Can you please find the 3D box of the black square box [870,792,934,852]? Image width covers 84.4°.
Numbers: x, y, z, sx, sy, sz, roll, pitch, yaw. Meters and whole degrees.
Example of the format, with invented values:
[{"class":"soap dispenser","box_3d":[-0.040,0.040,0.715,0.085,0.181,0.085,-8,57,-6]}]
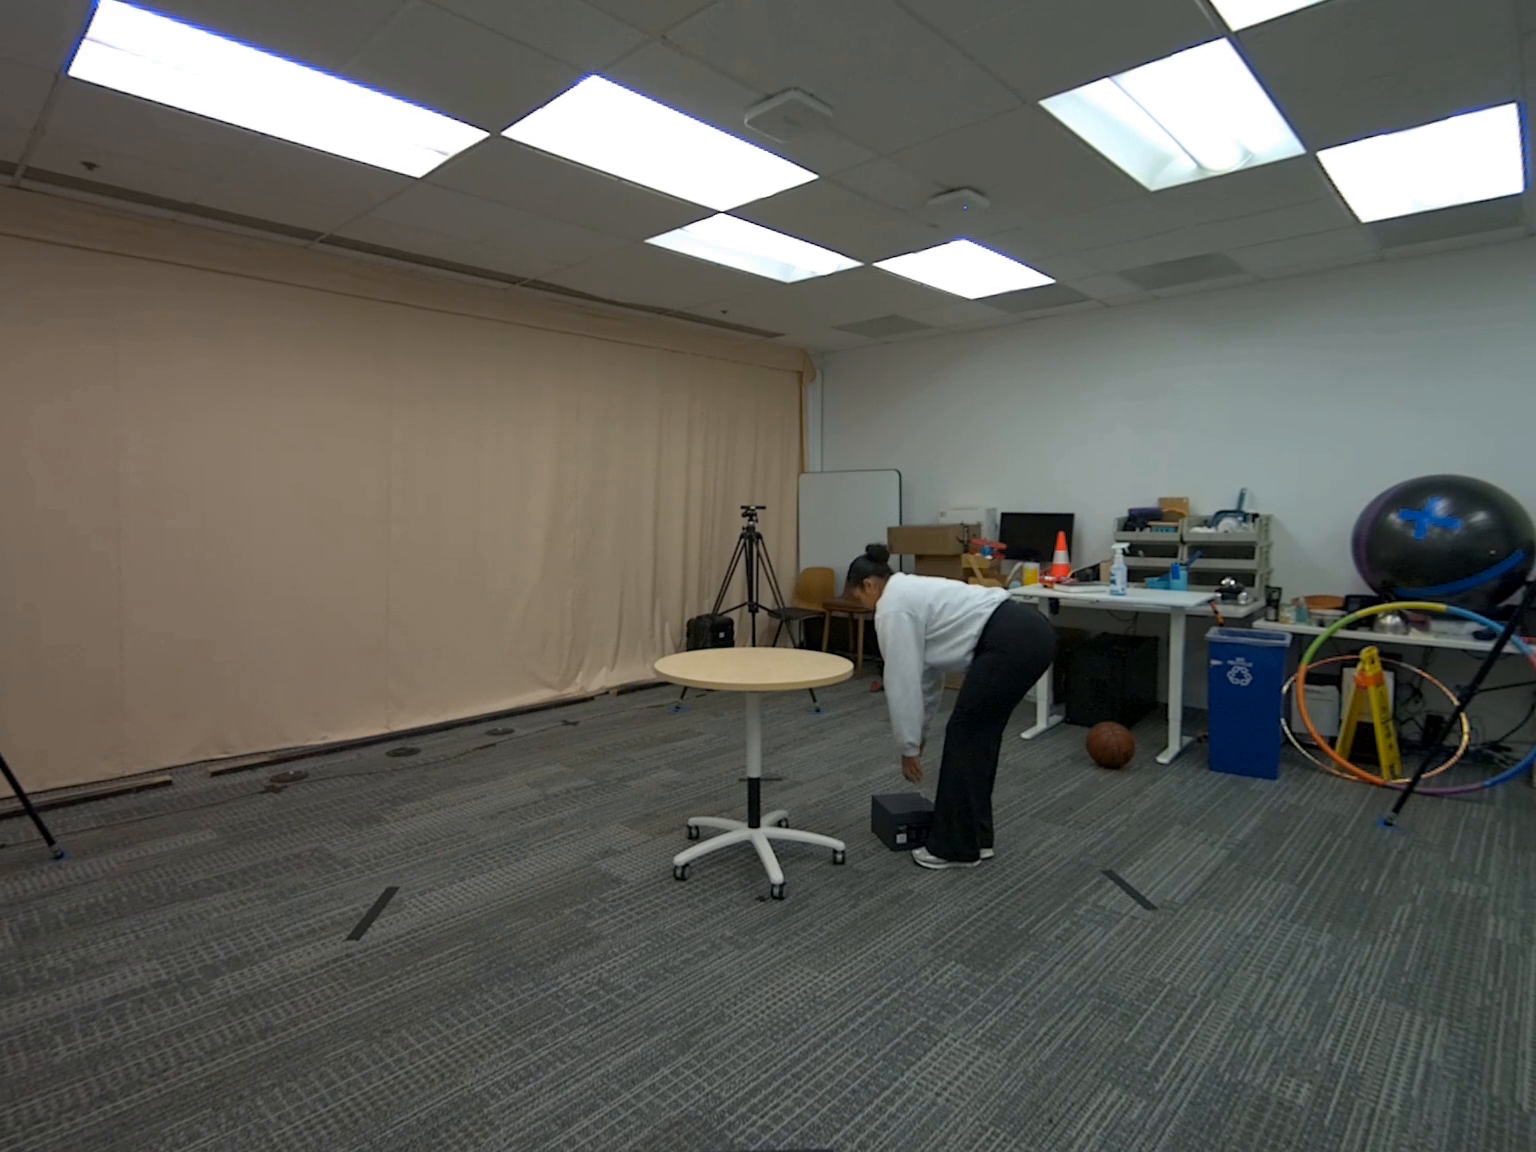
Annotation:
[{"class":"black square box","box_3d":[0.578,1.017,3.513,0.214,0.155,0.231,-1,4,-13]}]
